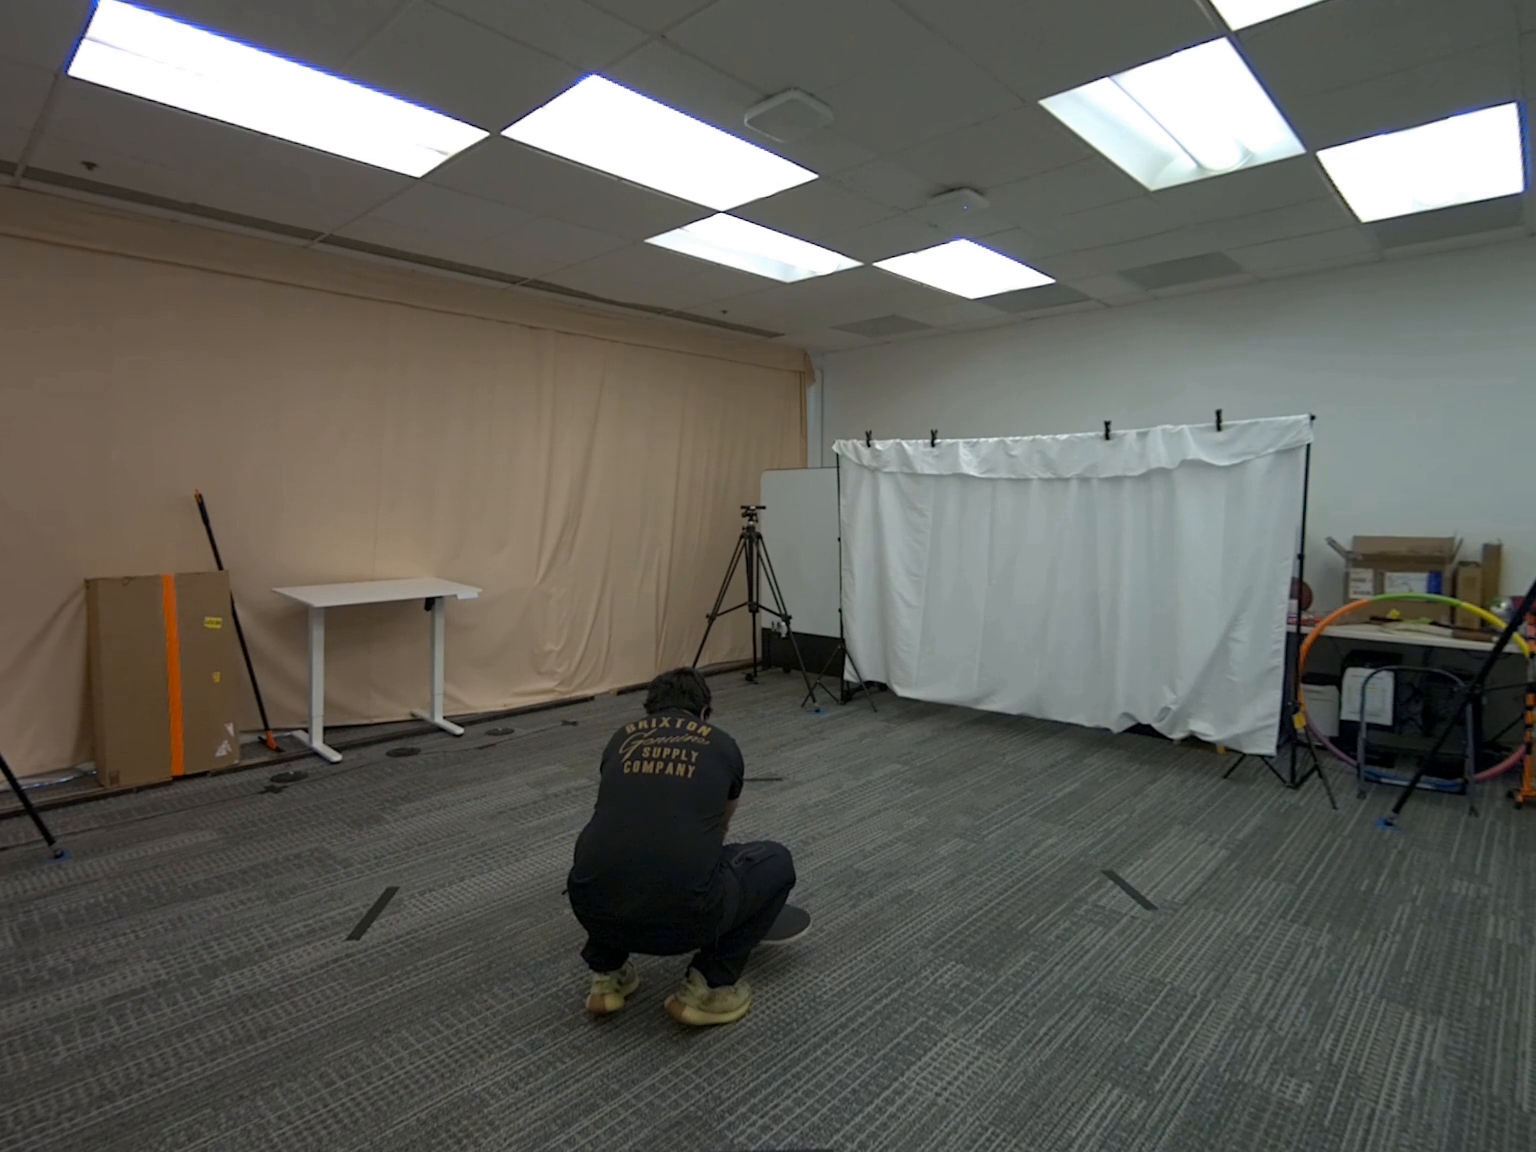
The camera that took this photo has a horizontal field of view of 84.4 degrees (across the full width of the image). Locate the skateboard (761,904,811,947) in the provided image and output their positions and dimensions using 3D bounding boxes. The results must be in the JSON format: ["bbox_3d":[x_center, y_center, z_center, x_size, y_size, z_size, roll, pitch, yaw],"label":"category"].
[{"bbox_3d":[-0.189,1.079,2.752,0.811,0.109,0.189,5,18,39],"label":"skateboard"}]
